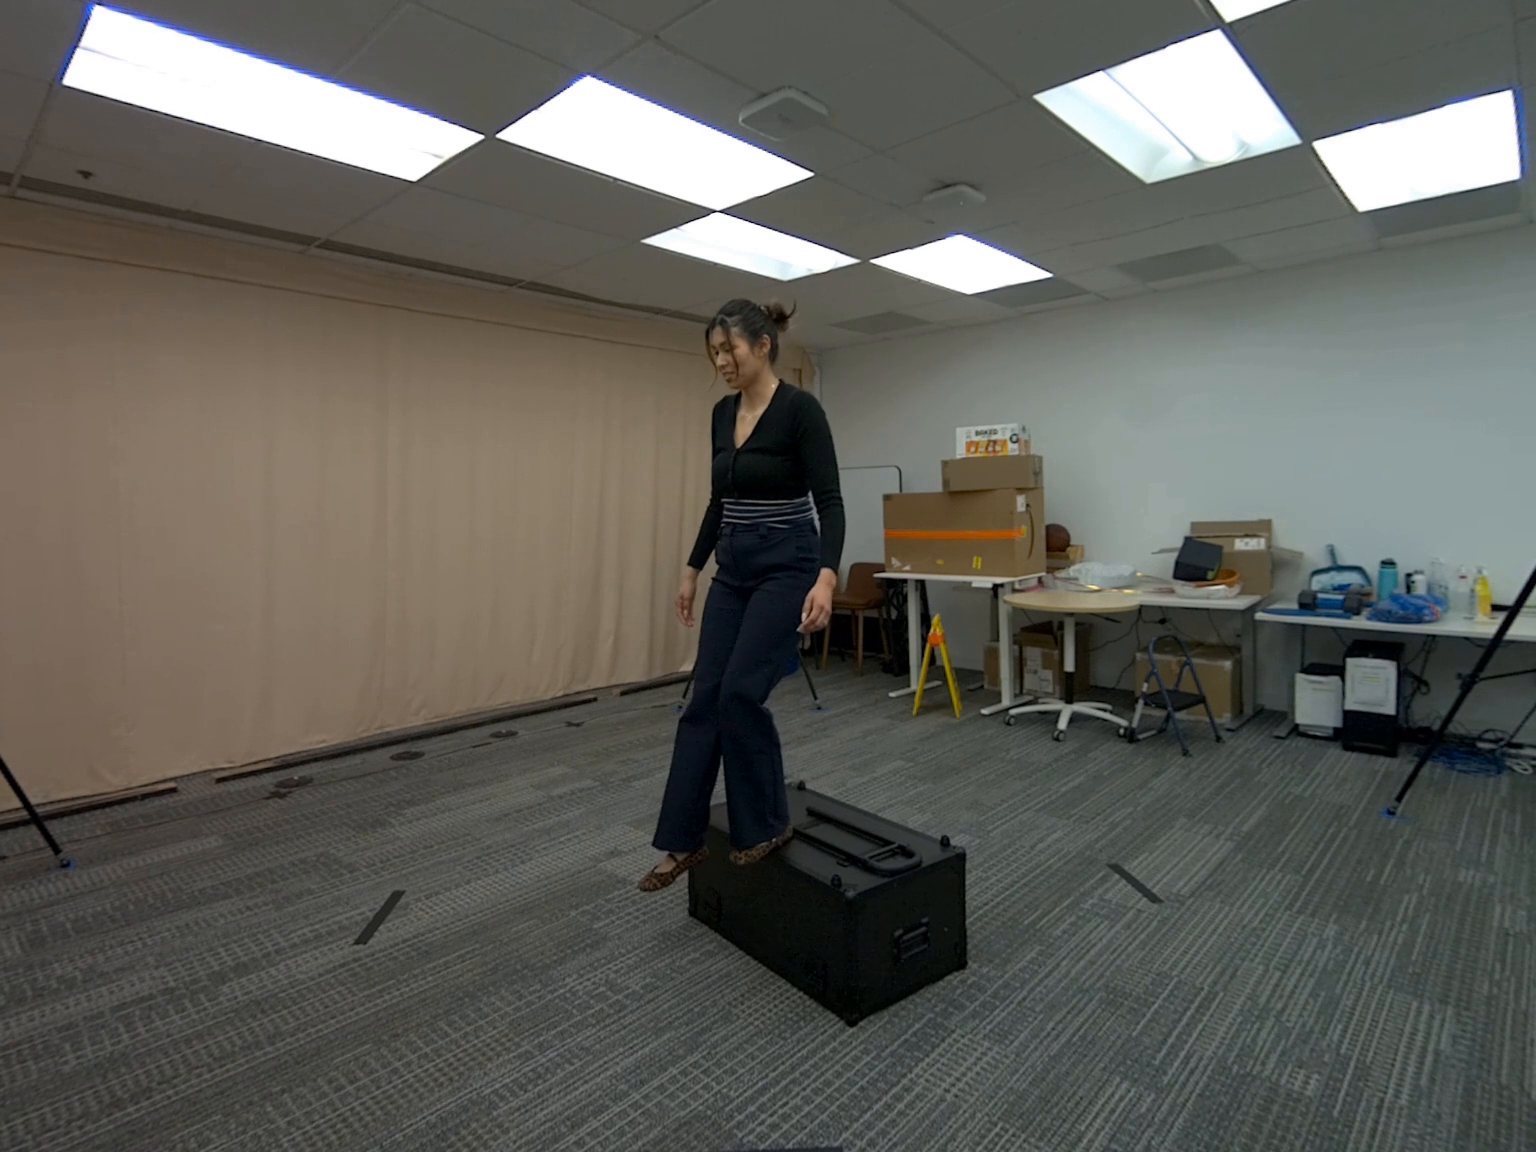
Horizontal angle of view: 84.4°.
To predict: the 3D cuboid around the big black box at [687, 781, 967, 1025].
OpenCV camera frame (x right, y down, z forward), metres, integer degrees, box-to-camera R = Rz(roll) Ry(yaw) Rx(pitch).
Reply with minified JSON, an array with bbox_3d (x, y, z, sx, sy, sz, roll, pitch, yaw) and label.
[{"bbox_3d":[0.182,0.990,2.655,0.506,0.395,0.889,-4,5,-37],"label":"big black box"}]
